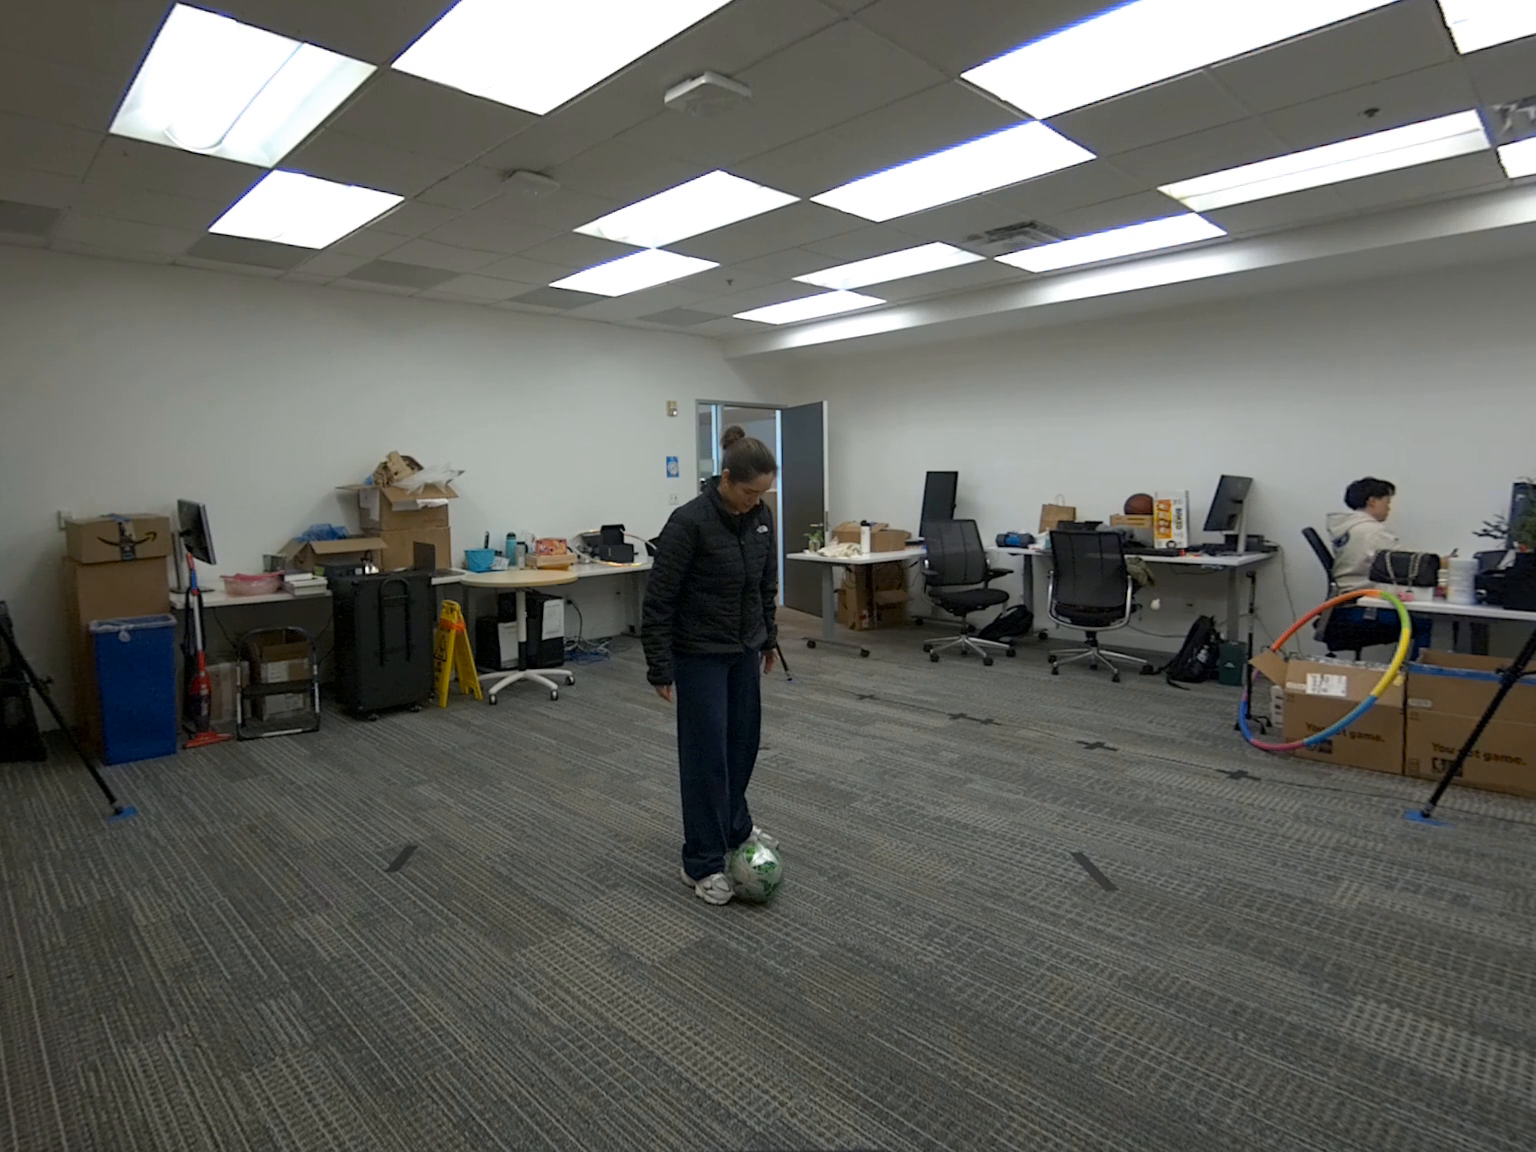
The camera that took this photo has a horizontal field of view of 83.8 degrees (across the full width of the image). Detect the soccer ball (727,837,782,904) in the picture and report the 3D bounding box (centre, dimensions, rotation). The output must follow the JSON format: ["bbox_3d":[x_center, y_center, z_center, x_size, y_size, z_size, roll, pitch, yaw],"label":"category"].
[{"bbox_3d":[-0.029,0.975,2.839,0.187,0.187,0.188,-1,5,-2],"label":"soccer ball"}]
